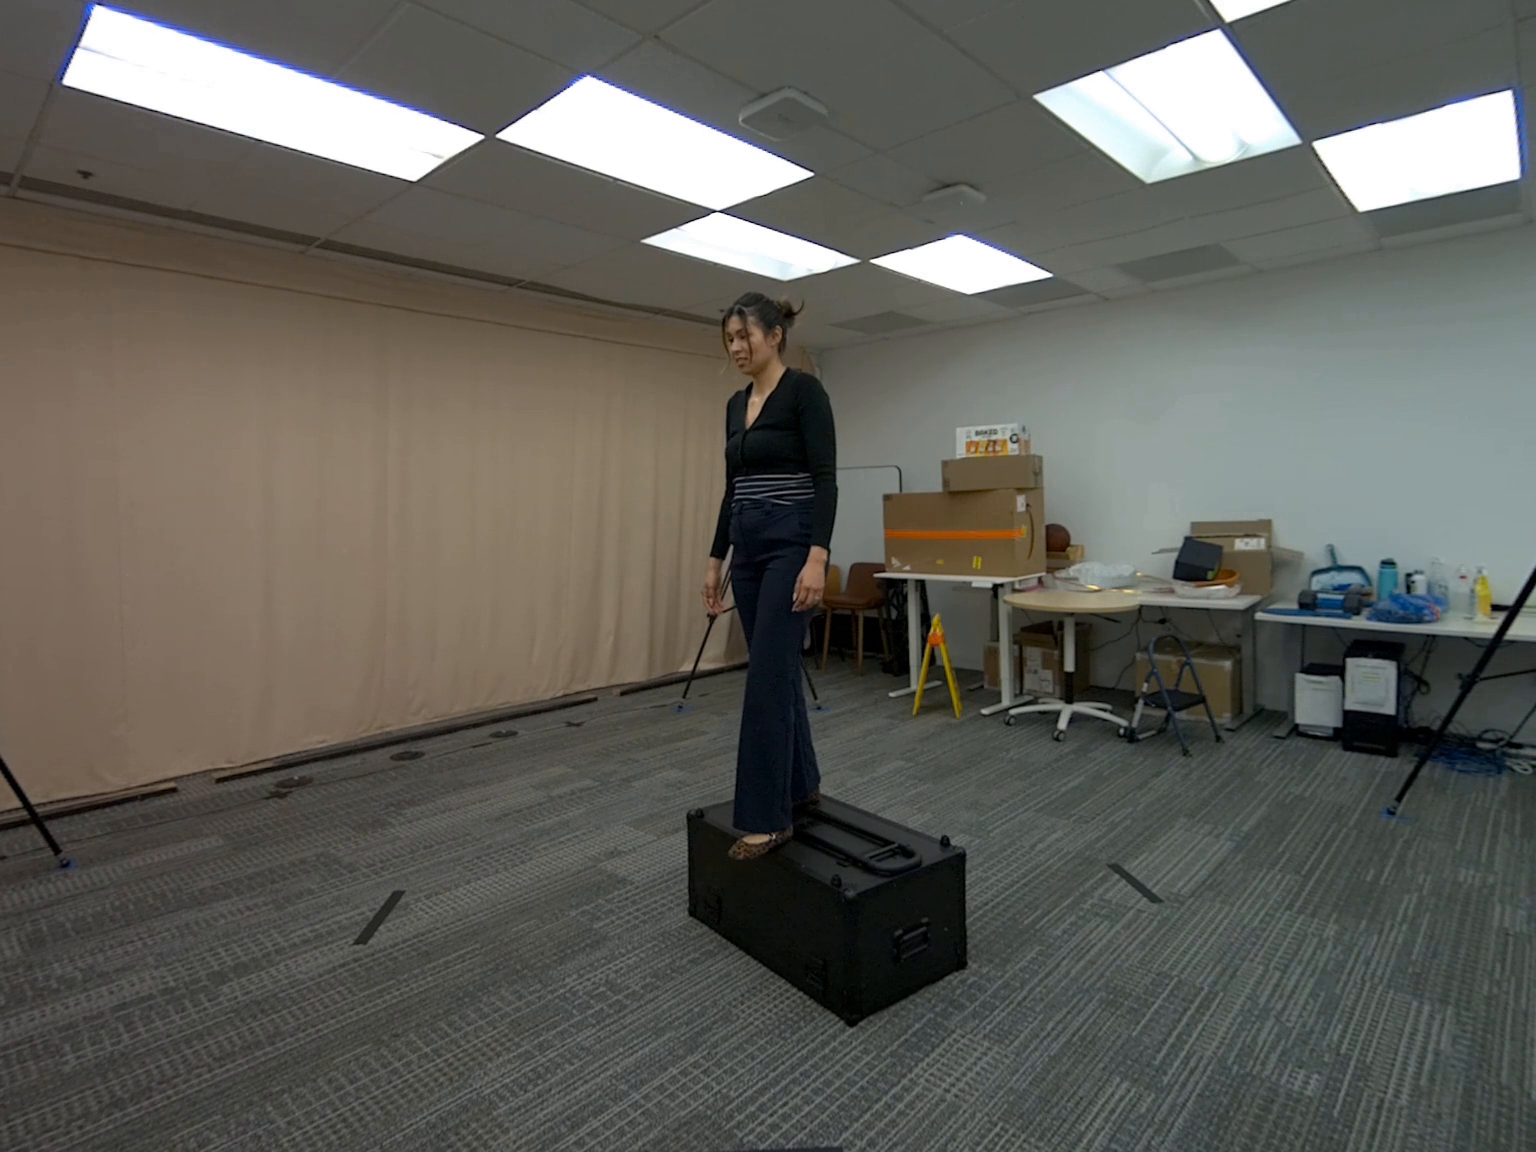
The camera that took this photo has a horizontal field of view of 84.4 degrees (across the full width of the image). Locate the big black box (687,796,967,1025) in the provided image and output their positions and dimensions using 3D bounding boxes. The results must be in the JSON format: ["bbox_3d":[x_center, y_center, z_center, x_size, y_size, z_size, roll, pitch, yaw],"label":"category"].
[{"bbox_3d":[0.182,0.992,2.655,0.506,0.395,0.889,-4,5,-38],"label":"big black box"}]
